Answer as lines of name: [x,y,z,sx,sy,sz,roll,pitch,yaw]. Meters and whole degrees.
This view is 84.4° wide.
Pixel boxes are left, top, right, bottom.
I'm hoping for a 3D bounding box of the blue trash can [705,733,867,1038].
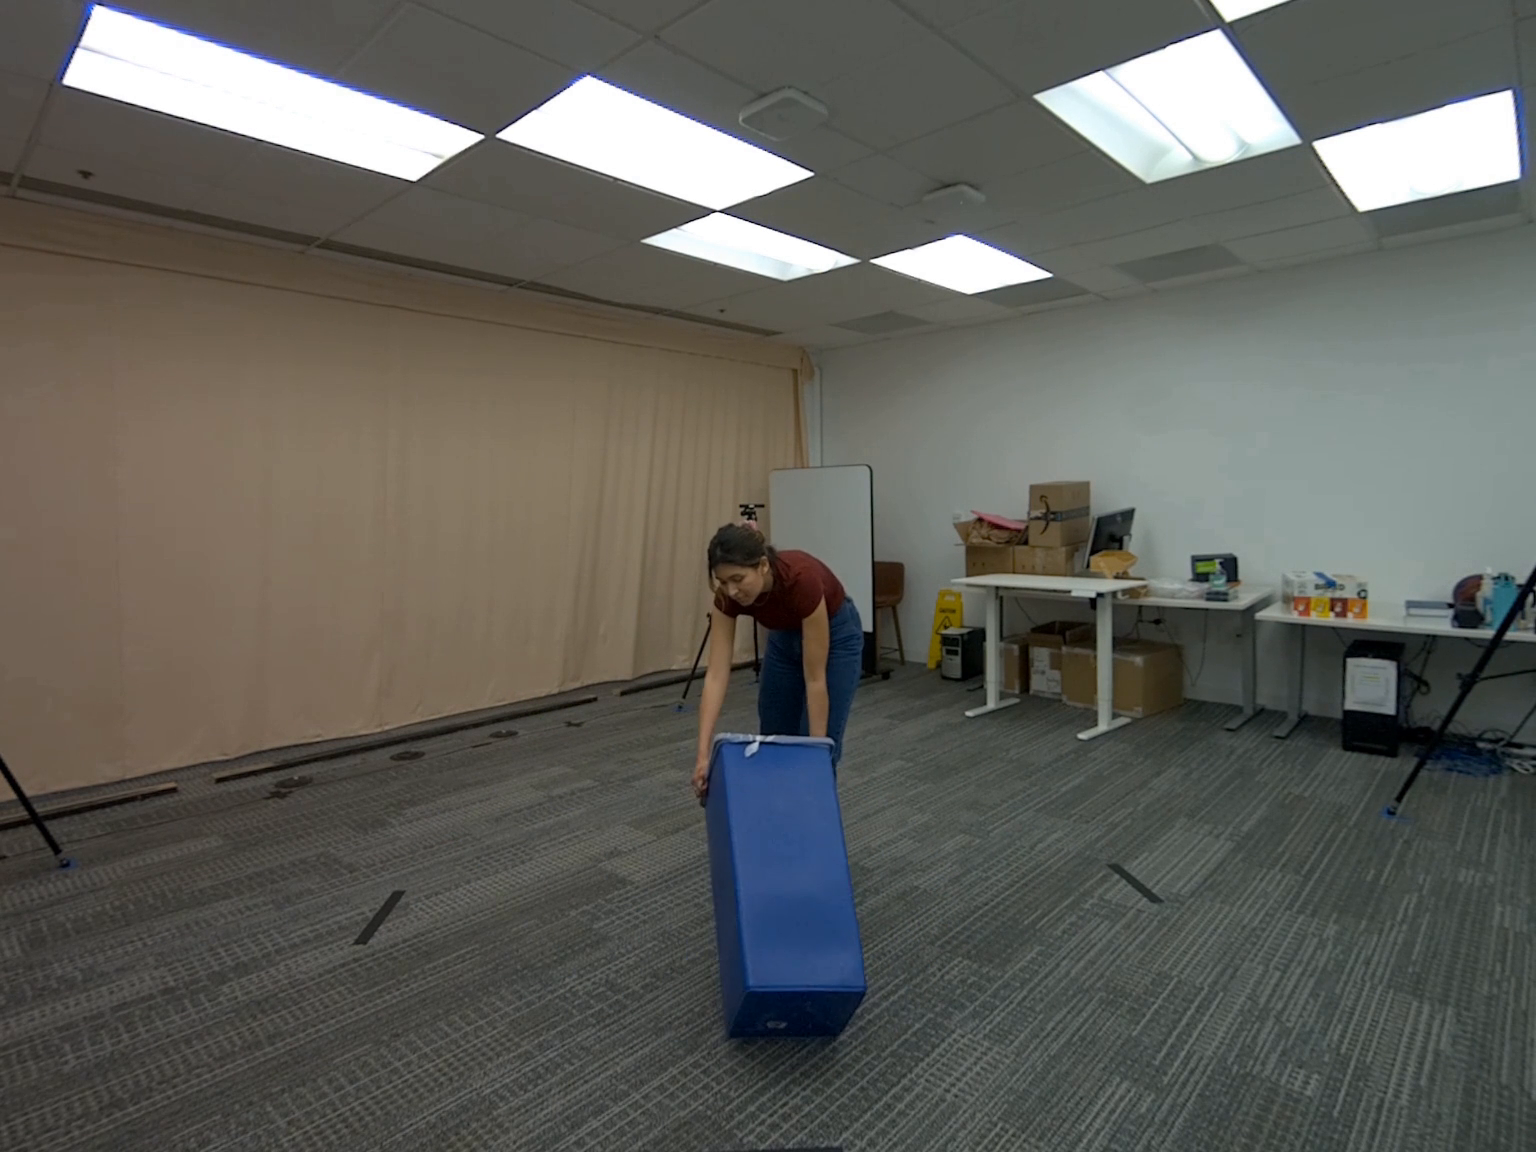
blue trash can: [0.017,0.852,2.359,0.375,0.369,0.729,3,42,-9]
